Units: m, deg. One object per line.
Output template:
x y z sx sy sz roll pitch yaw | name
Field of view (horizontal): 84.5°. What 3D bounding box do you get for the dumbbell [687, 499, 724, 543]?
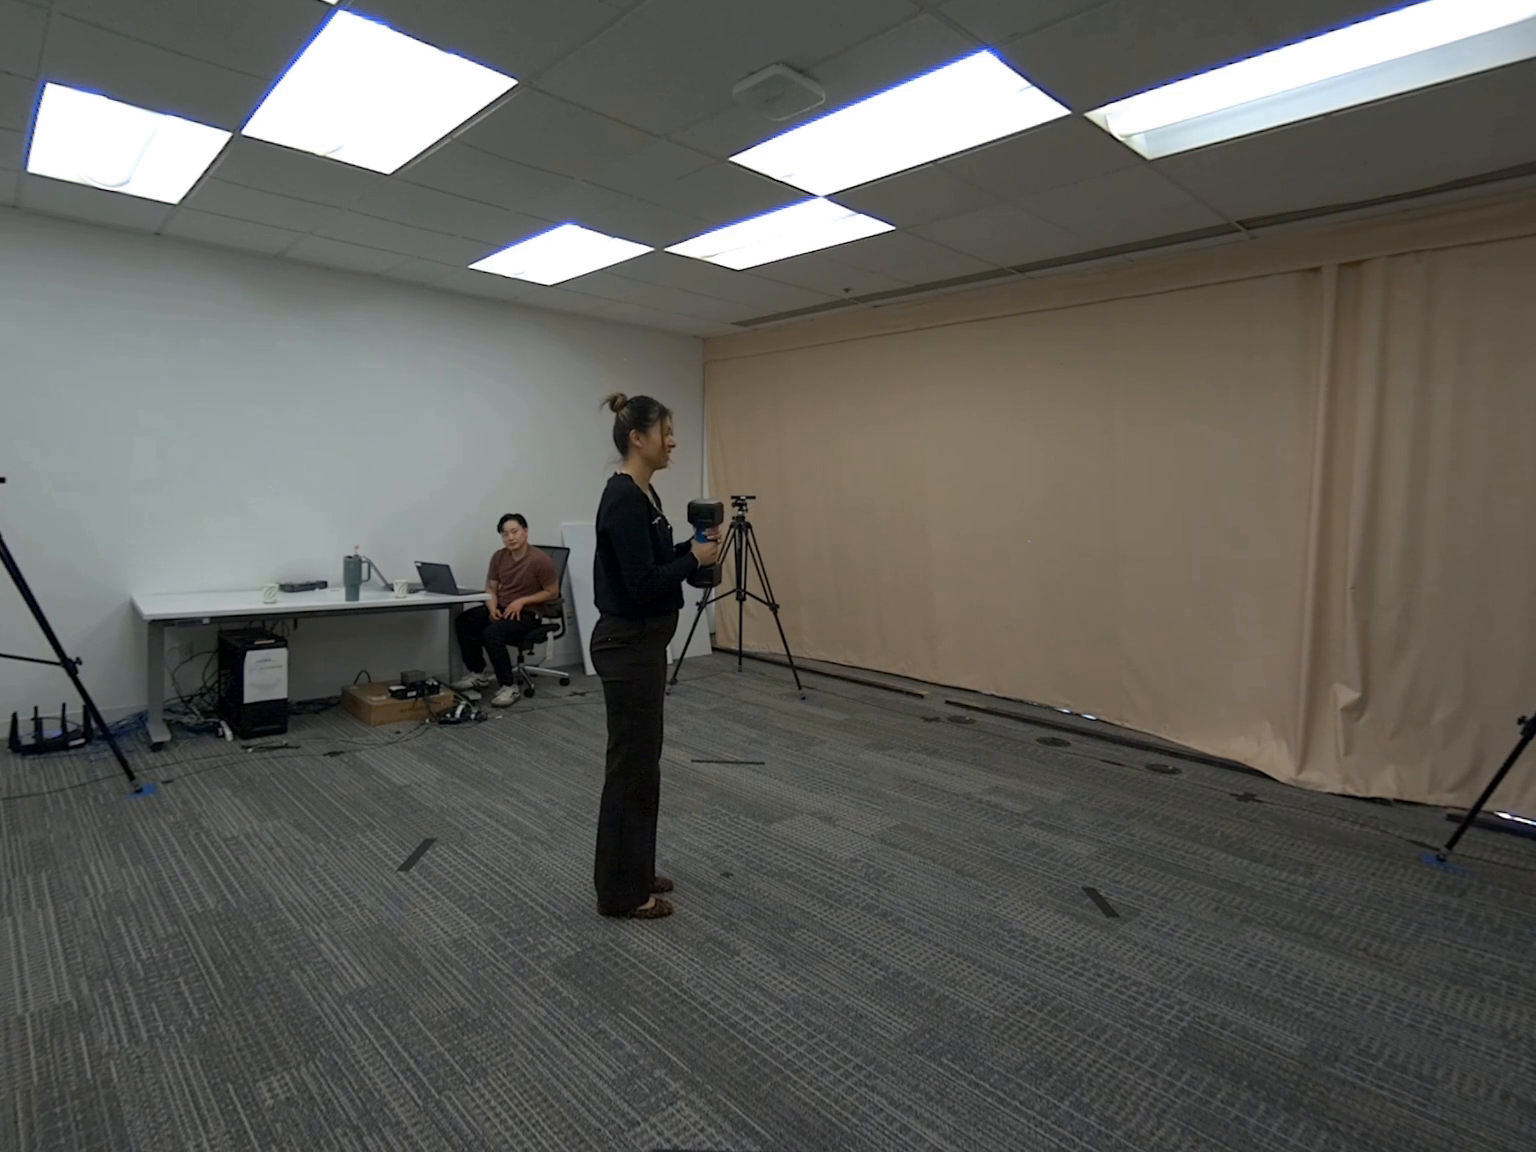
-0.232 -0.113 2.842 0.107 0.291 0.126 -4 14 -26 | dumbbell
